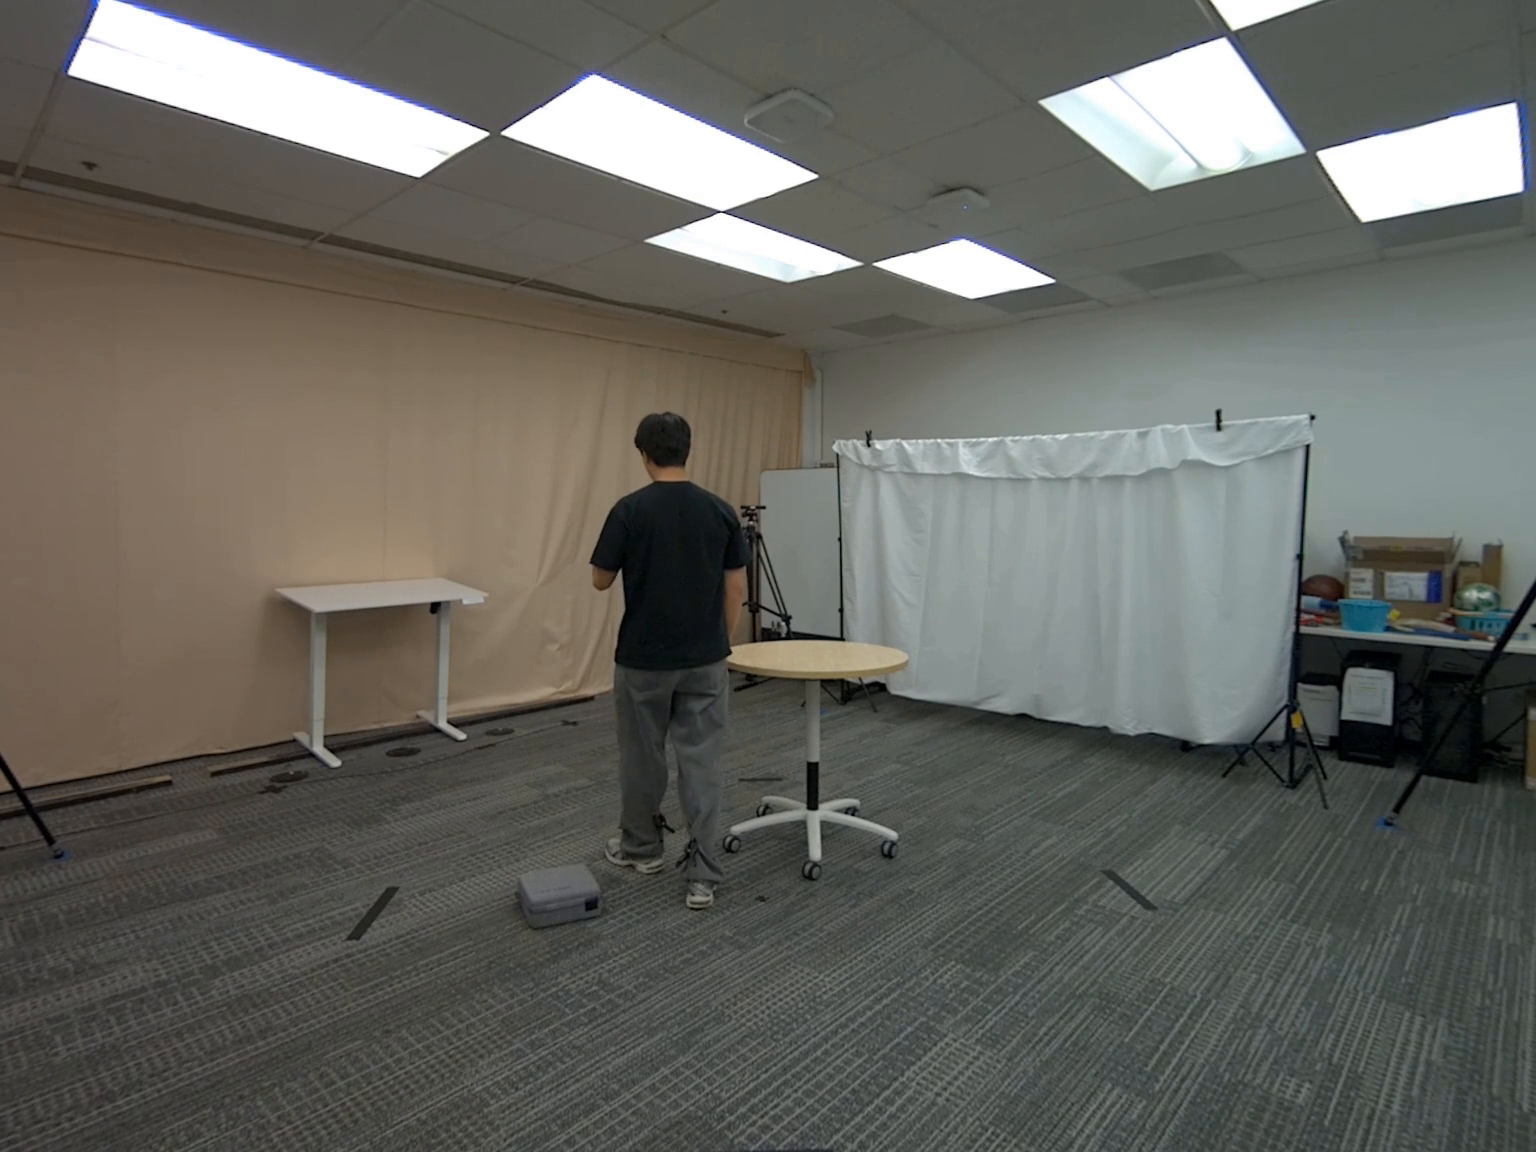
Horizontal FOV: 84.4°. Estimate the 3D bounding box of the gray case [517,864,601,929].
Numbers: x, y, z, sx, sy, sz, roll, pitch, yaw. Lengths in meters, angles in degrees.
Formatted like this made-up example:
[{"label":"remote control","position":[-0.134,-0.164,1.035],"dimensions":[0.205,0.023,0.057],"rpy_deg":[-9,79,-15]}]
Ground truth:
[{"label":"gray case","position":[-0.728,1.102,2.927],"dimensions":[0.257,0.103,0.294],"rpy_deg":[-2,4,-24]}]
